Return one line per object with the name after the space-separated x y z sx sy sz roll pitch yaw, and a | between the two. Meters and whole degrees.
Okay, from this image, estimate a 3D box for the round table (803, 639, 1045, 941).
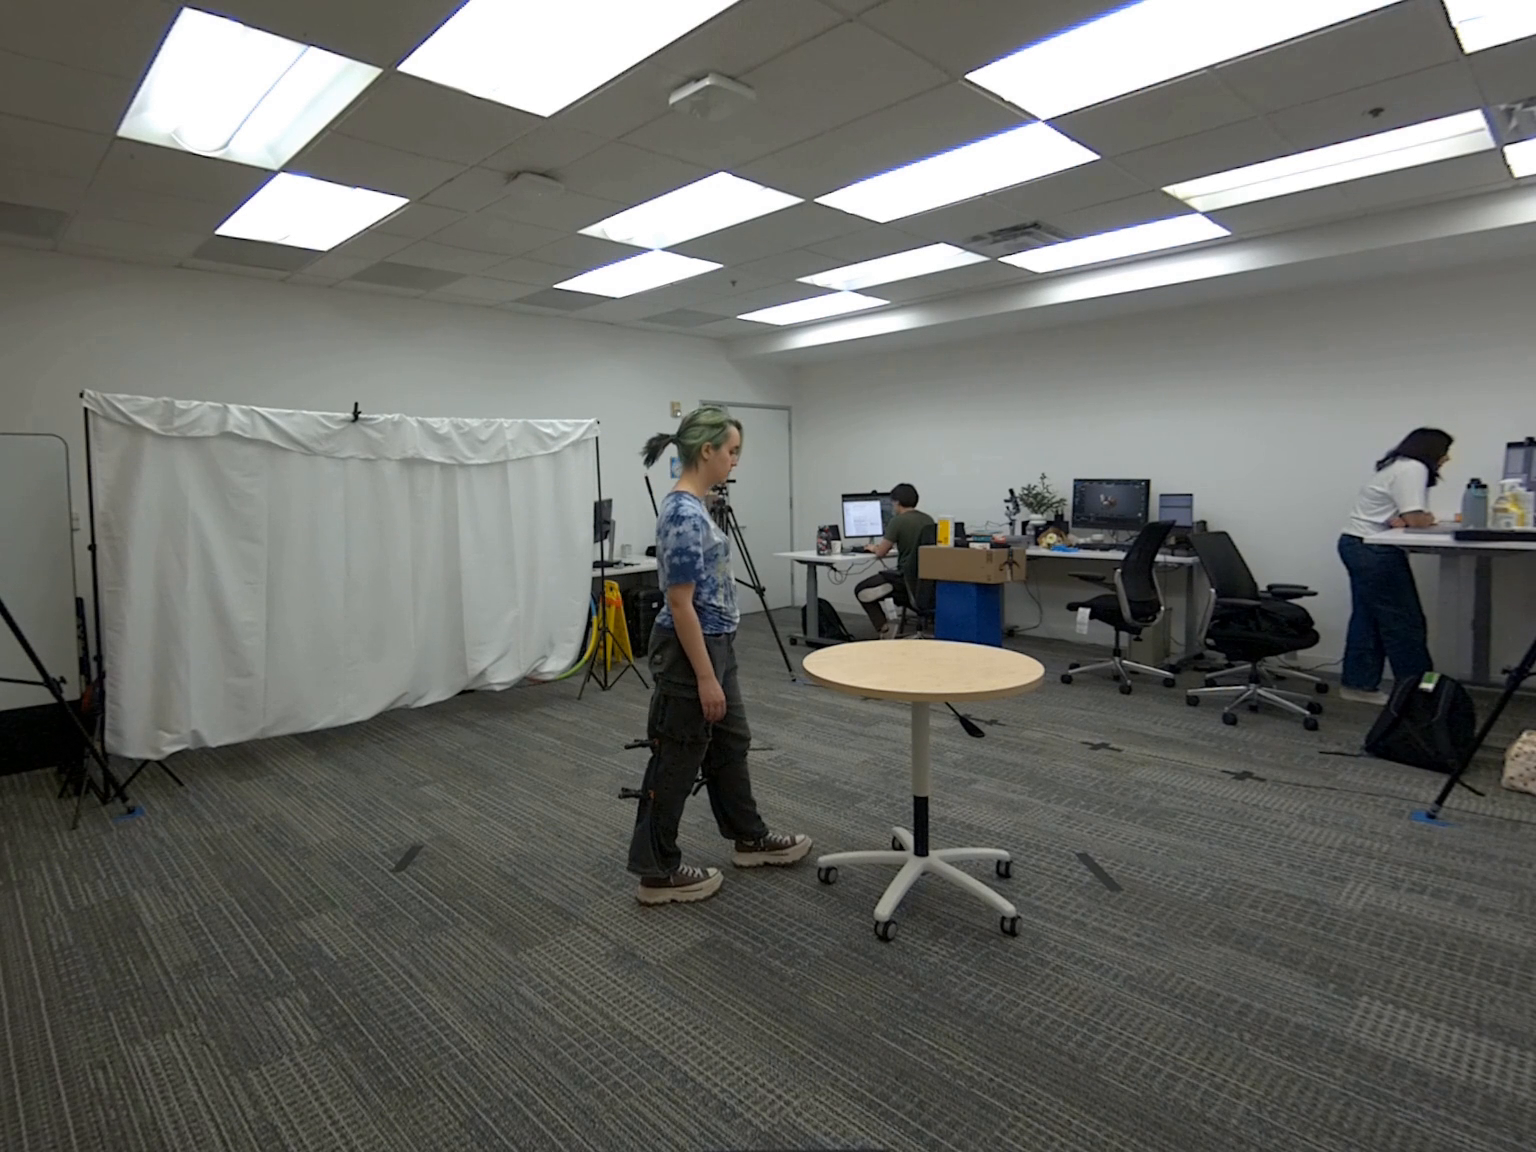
0.497 0.675 2.818 0.784 0.783 0.789 -1 5 -2 | round table
